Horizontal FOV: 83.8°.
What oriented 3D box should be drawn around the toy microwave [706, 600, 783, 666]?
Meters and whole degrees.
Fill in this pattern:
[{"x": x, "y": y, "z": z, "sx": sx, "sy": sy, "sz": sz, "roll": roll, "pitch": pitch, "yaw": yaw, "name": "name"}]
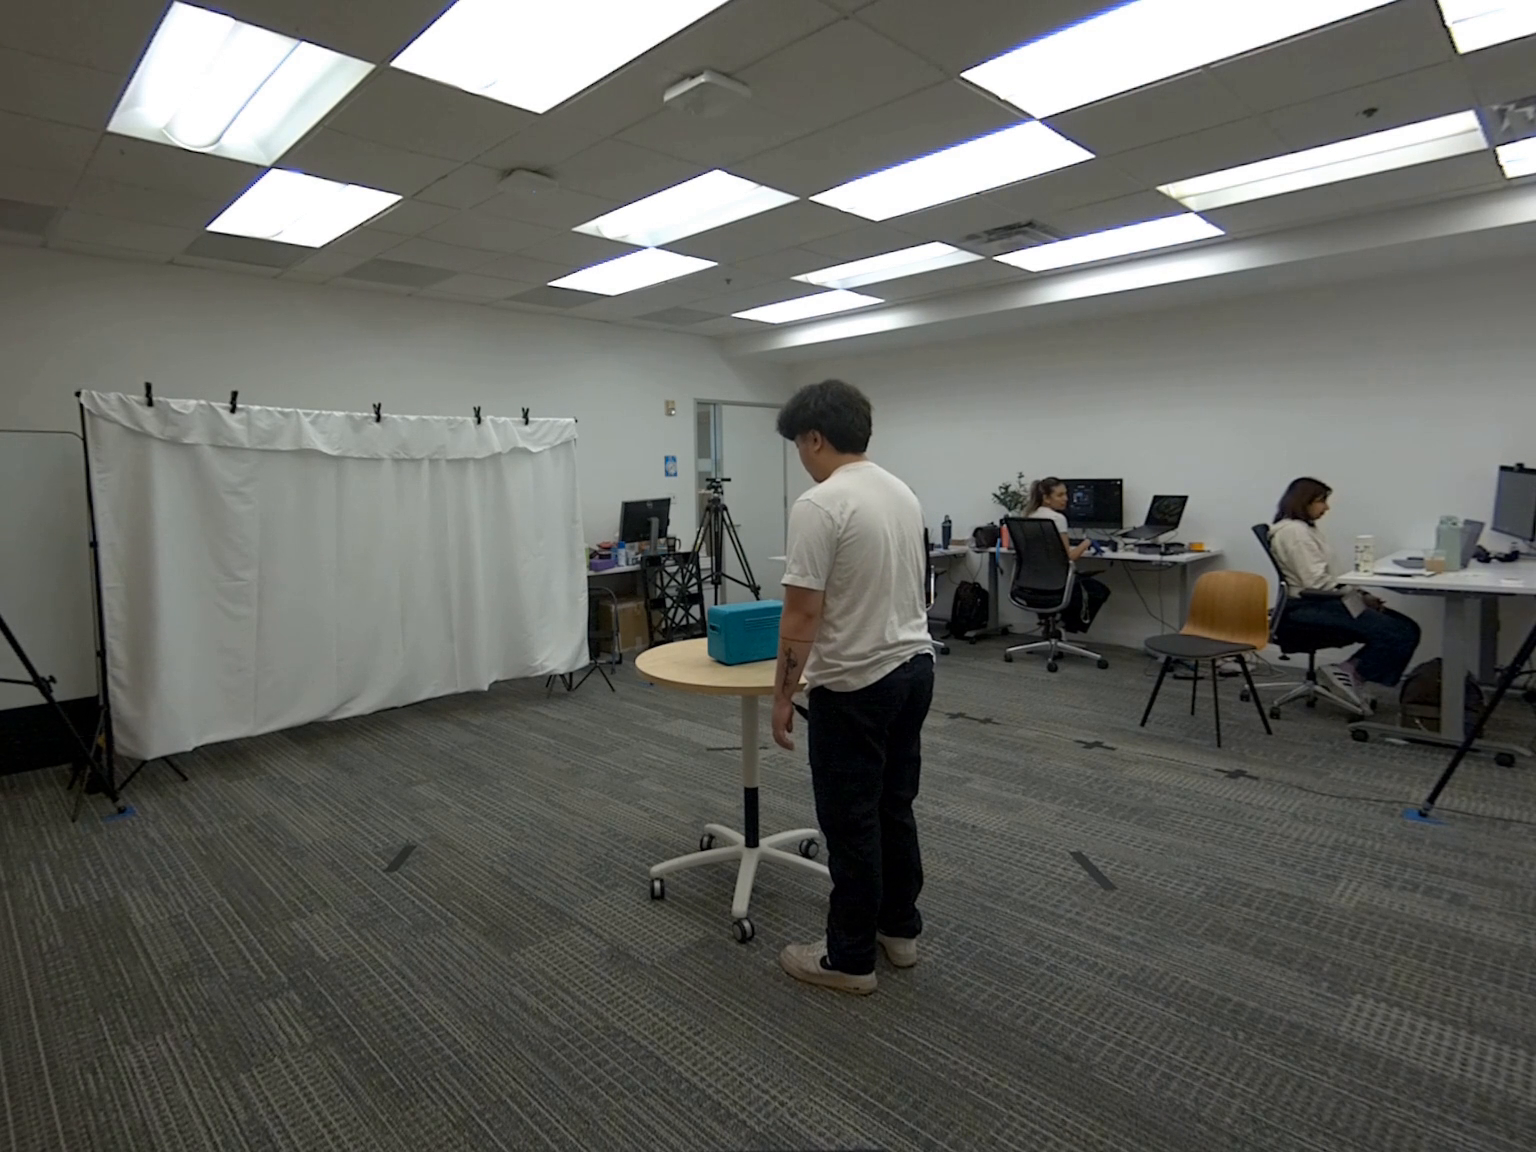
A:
[{"x": -0.057, "y": 0.183, "z": 2.871, "sx": 0.279, "sy": 0.183, "sz": 0.157, "roll": -5, "pitch": 6, "yaw": -31, "name": "toy microwave"}]
